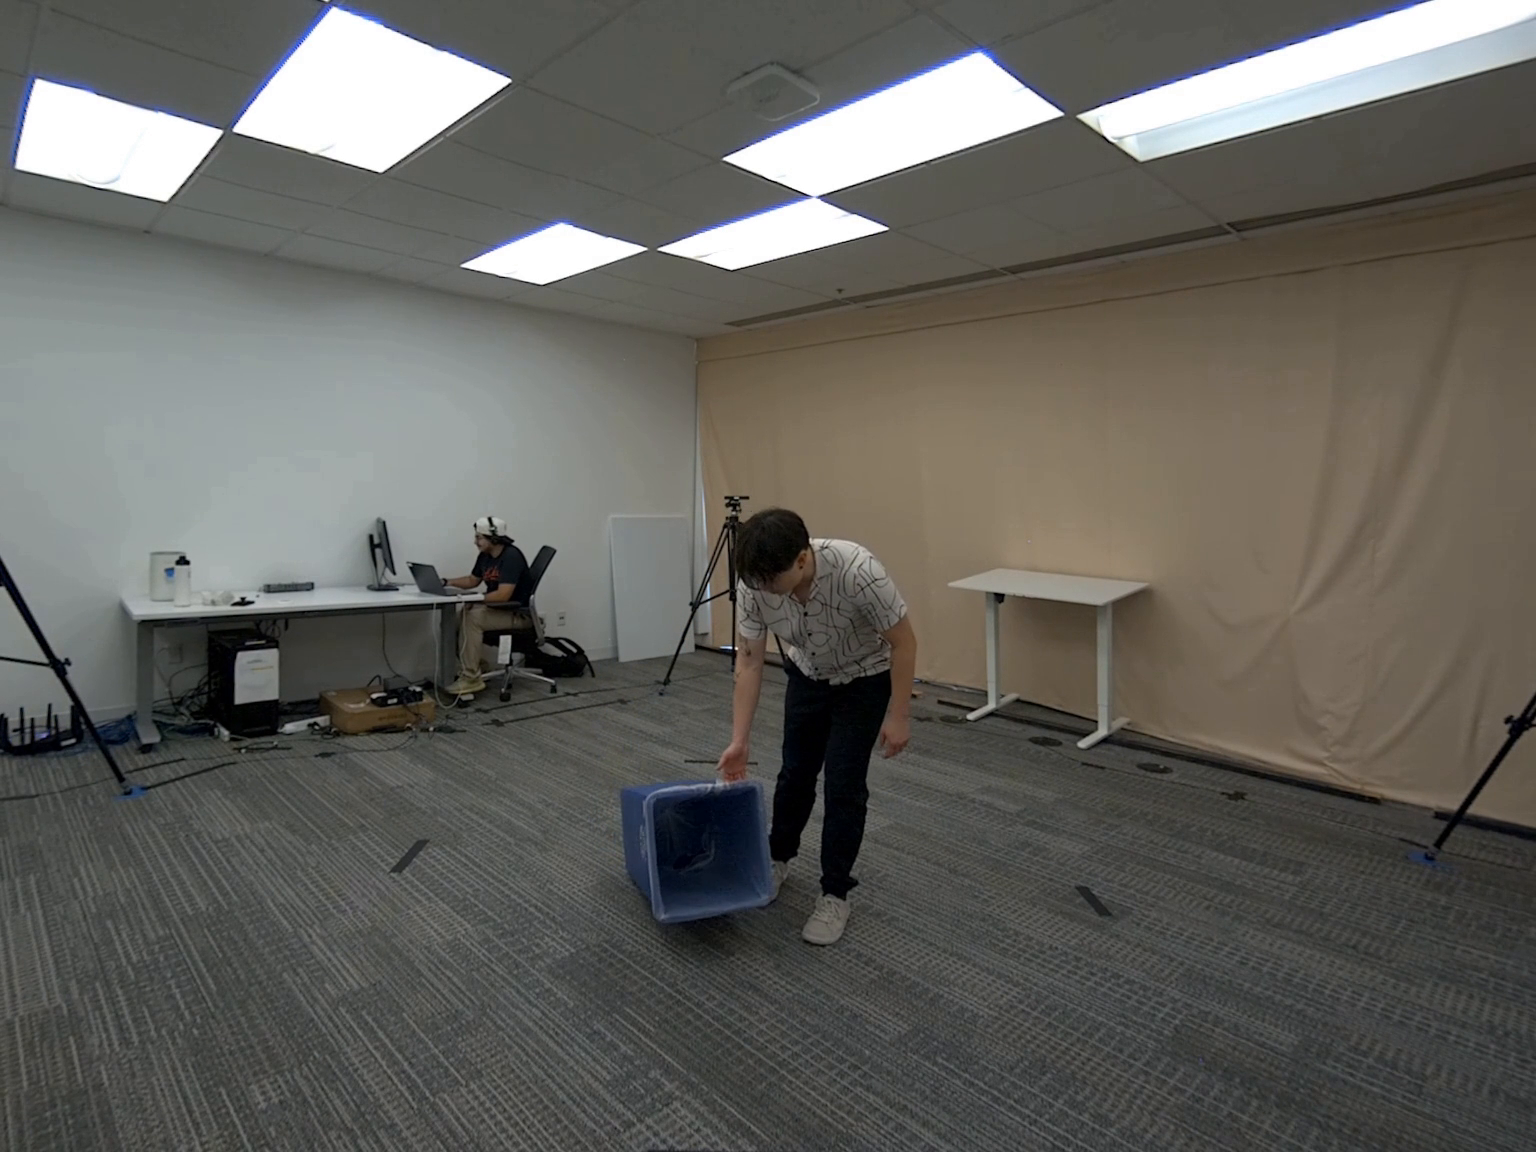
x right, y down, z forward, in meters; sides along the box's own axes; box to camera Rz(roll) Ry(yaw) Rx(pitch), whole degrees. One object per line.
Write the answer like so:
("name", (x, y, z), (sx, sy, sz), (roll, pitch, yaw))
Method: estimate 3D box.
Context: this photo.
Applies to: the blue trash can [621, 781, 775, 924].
("blue trash can", (-0.285, 0.880, 2.849), (0.373, 0.377, 0.717), (-3, -10, -18))
